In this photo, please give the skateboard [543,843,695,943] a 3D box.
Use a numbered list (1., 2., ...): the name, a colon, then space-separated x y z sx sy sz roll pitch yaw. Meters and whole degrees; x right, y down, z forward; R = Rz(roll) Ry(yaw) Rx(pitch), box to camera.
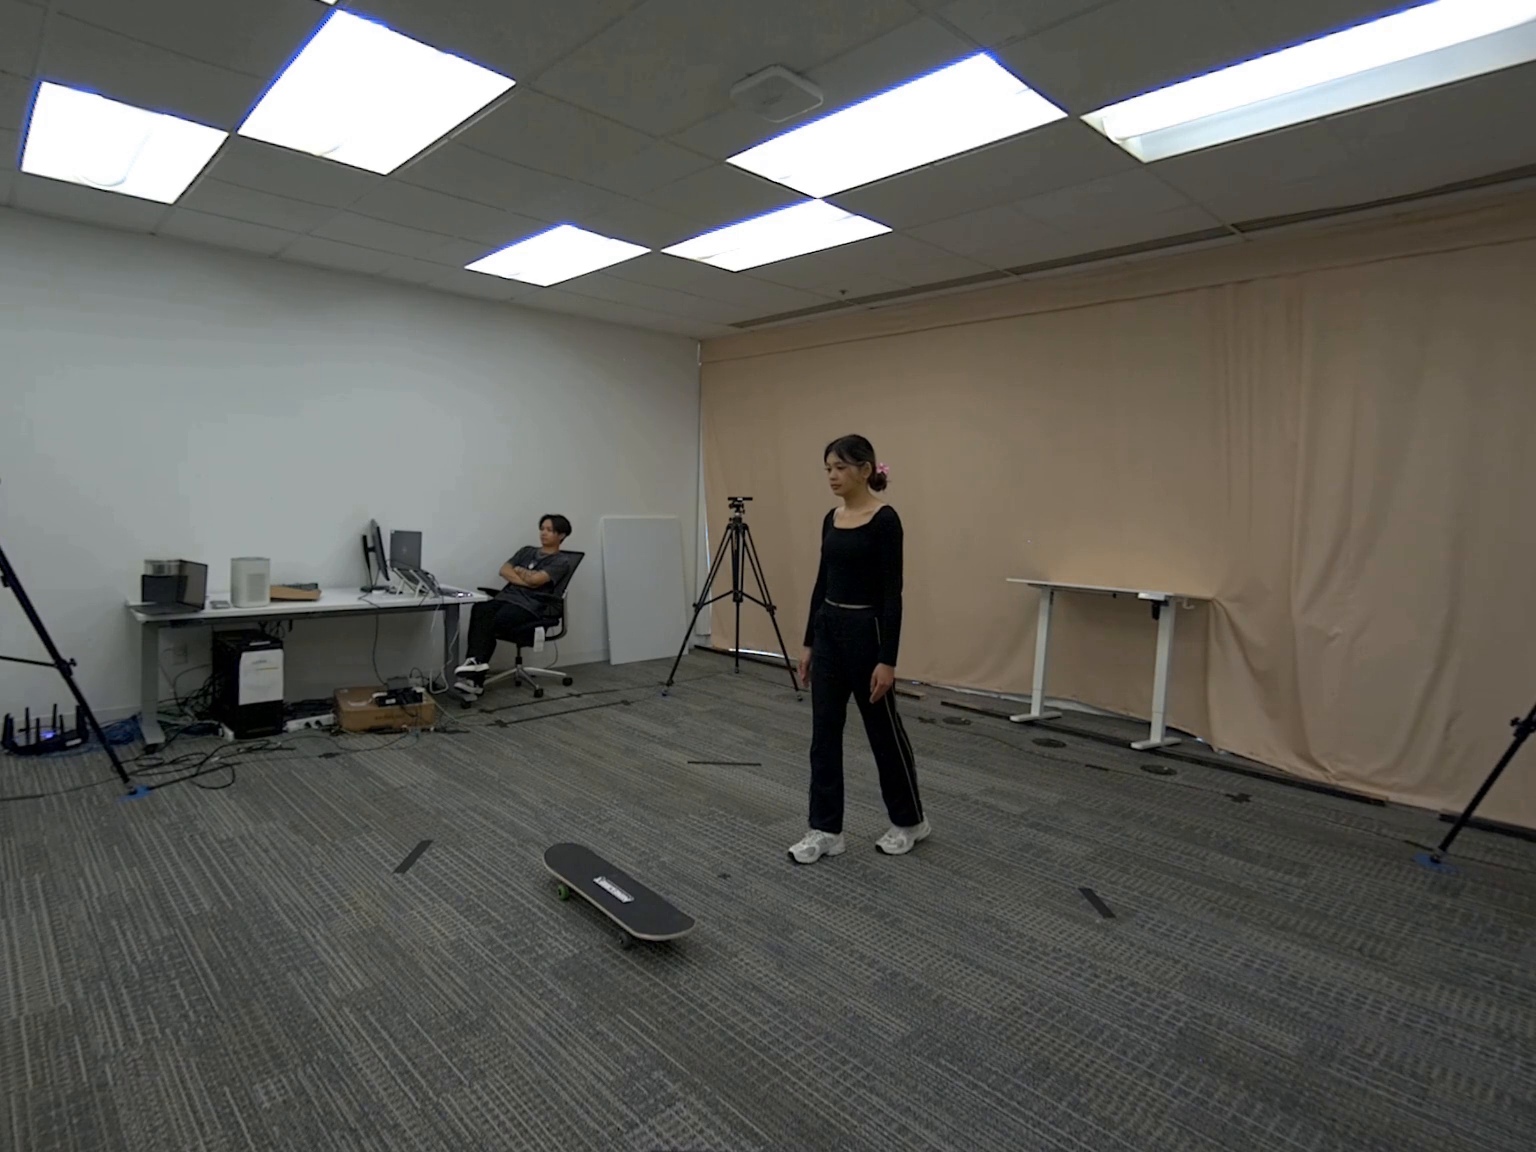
1. skateboard: -0.527 1.074 2.791 0.189 0.110 0.806 -3 7 -40
